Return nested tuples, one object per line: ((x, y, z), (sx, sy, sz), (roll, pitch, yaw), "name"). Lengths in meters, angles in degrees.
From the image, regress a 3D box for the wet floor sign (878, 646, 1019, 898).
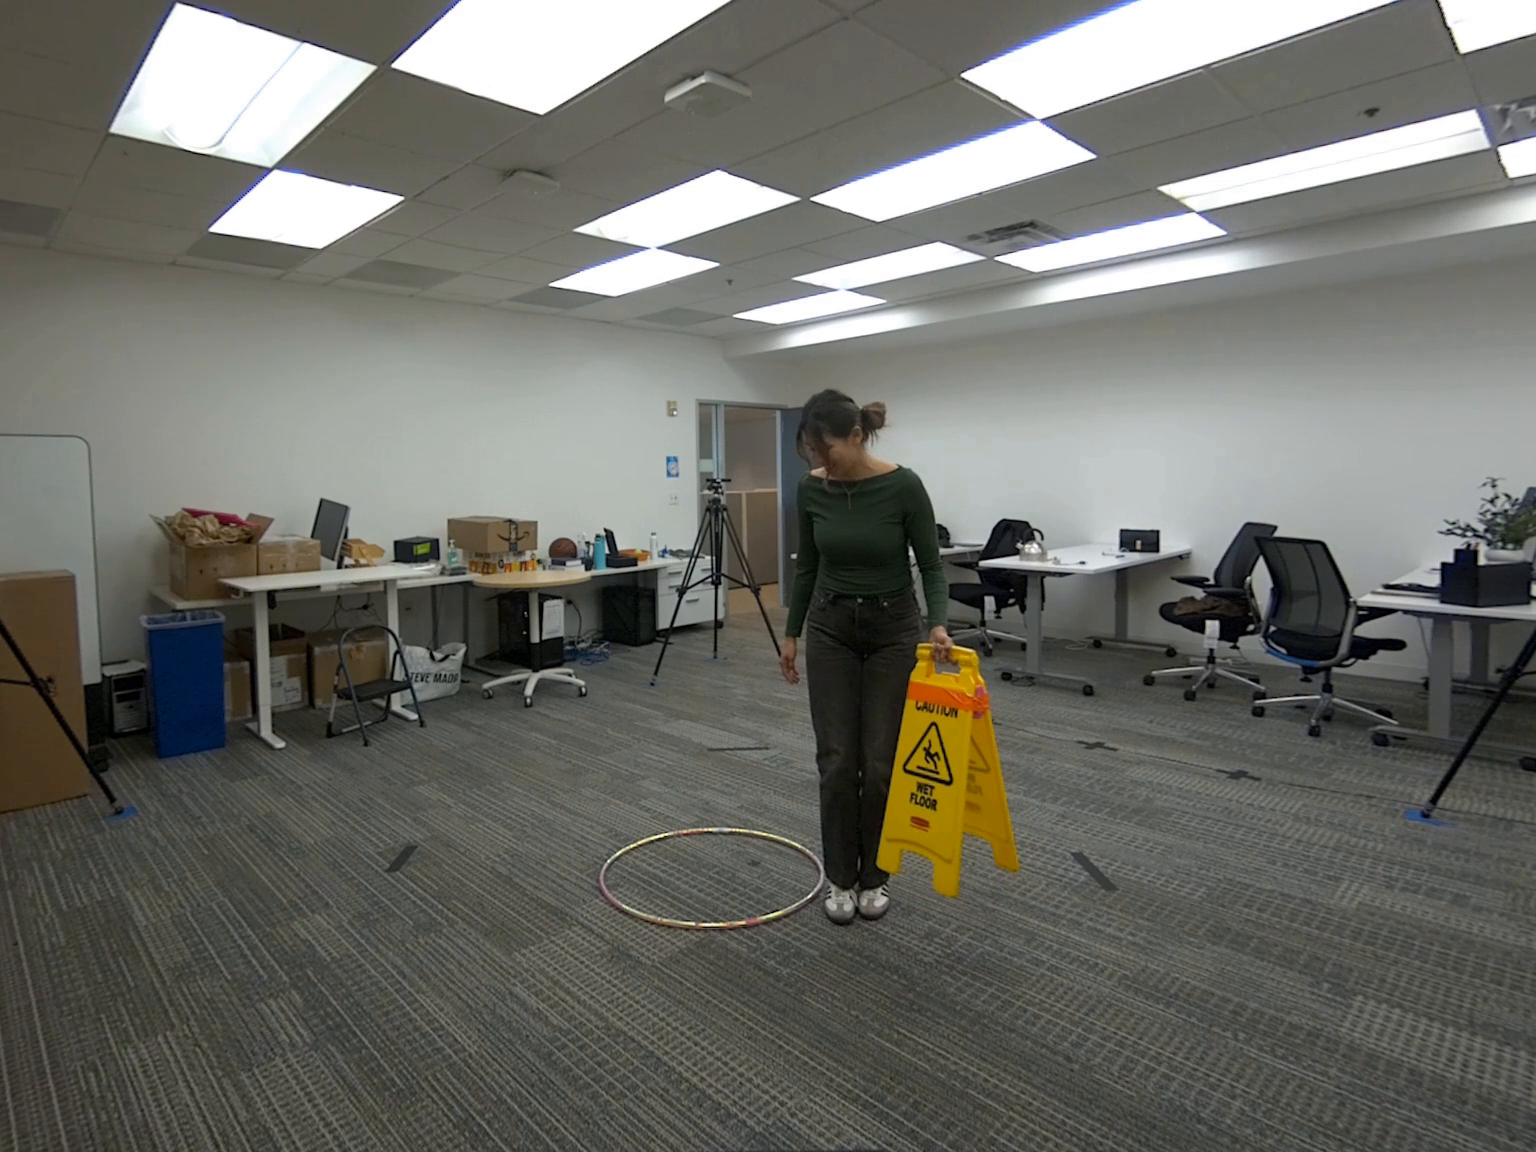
((0.521, 0.528, 2.459), (0.282, 0.646, 0.290), (-1, 0, -39), "wet floor sign")
